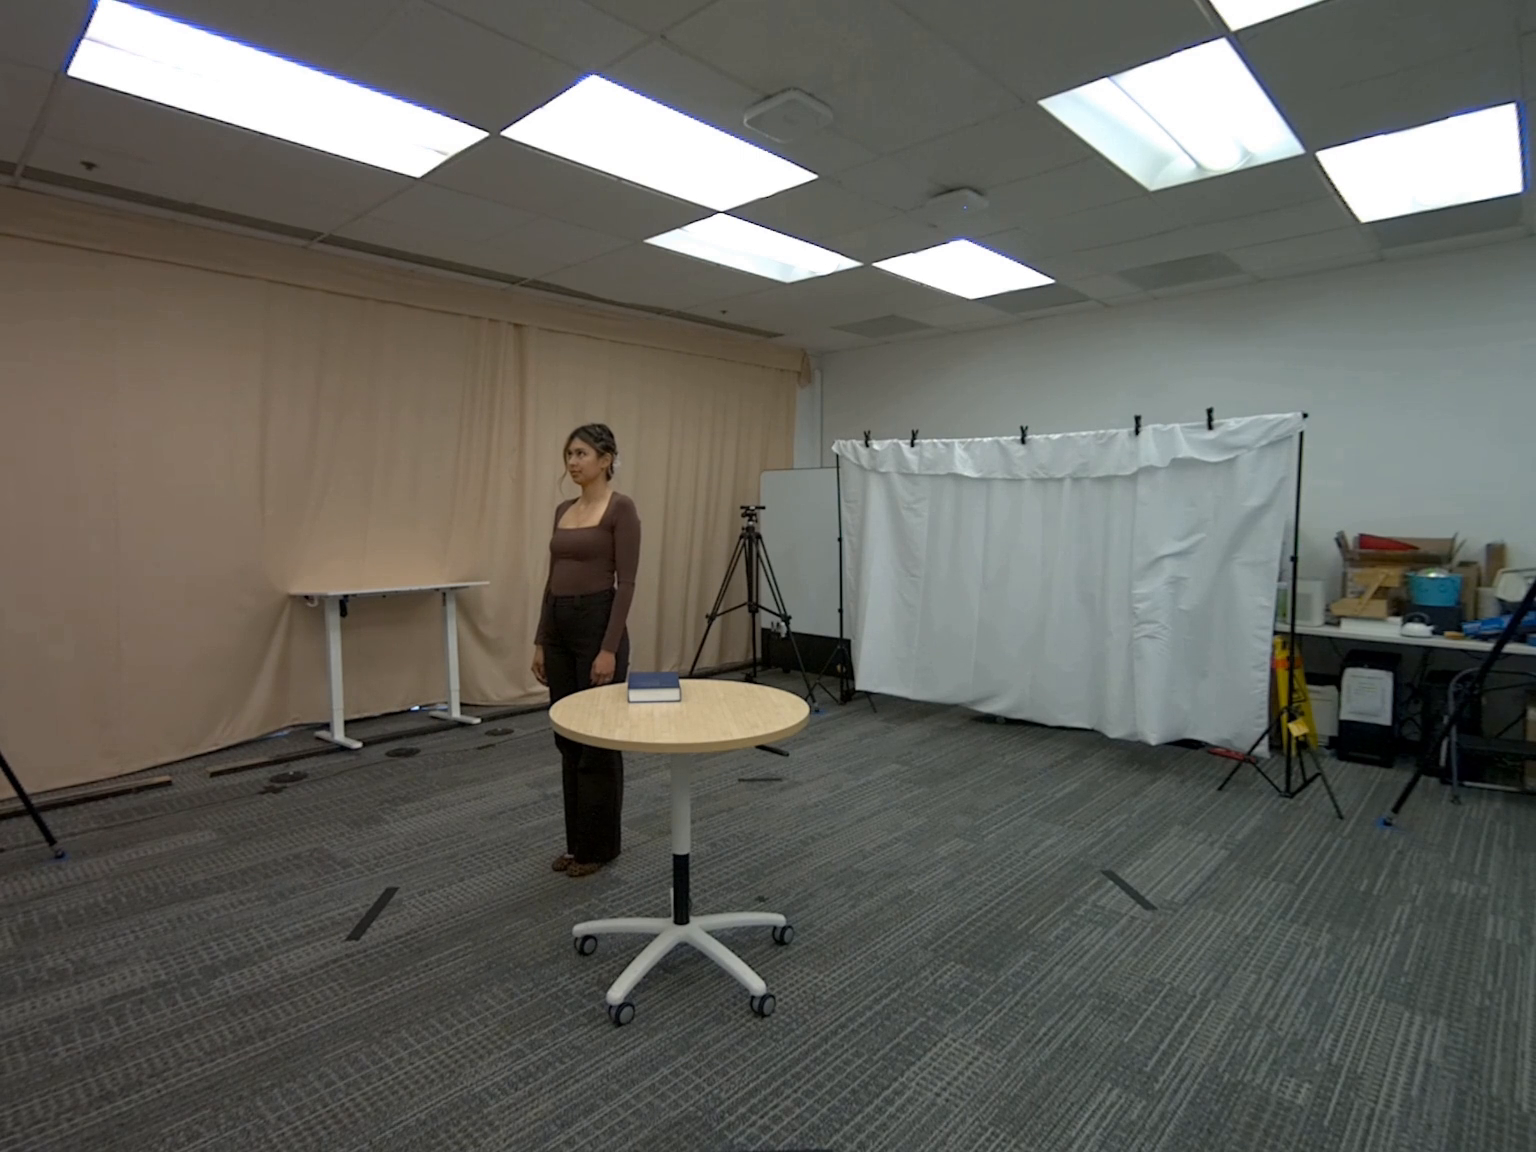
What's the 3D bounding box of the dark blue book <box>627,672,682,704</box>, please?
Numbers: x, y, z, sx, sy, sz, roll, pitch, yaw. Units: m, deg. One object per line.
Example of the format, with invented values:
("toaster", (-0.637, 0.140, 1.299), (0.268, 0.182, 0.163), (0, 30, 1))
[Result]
("dark blue book", (-0.362, 0.353, 2.671), (0.162, 0.045, 0.247), (-1, 5, -8))
